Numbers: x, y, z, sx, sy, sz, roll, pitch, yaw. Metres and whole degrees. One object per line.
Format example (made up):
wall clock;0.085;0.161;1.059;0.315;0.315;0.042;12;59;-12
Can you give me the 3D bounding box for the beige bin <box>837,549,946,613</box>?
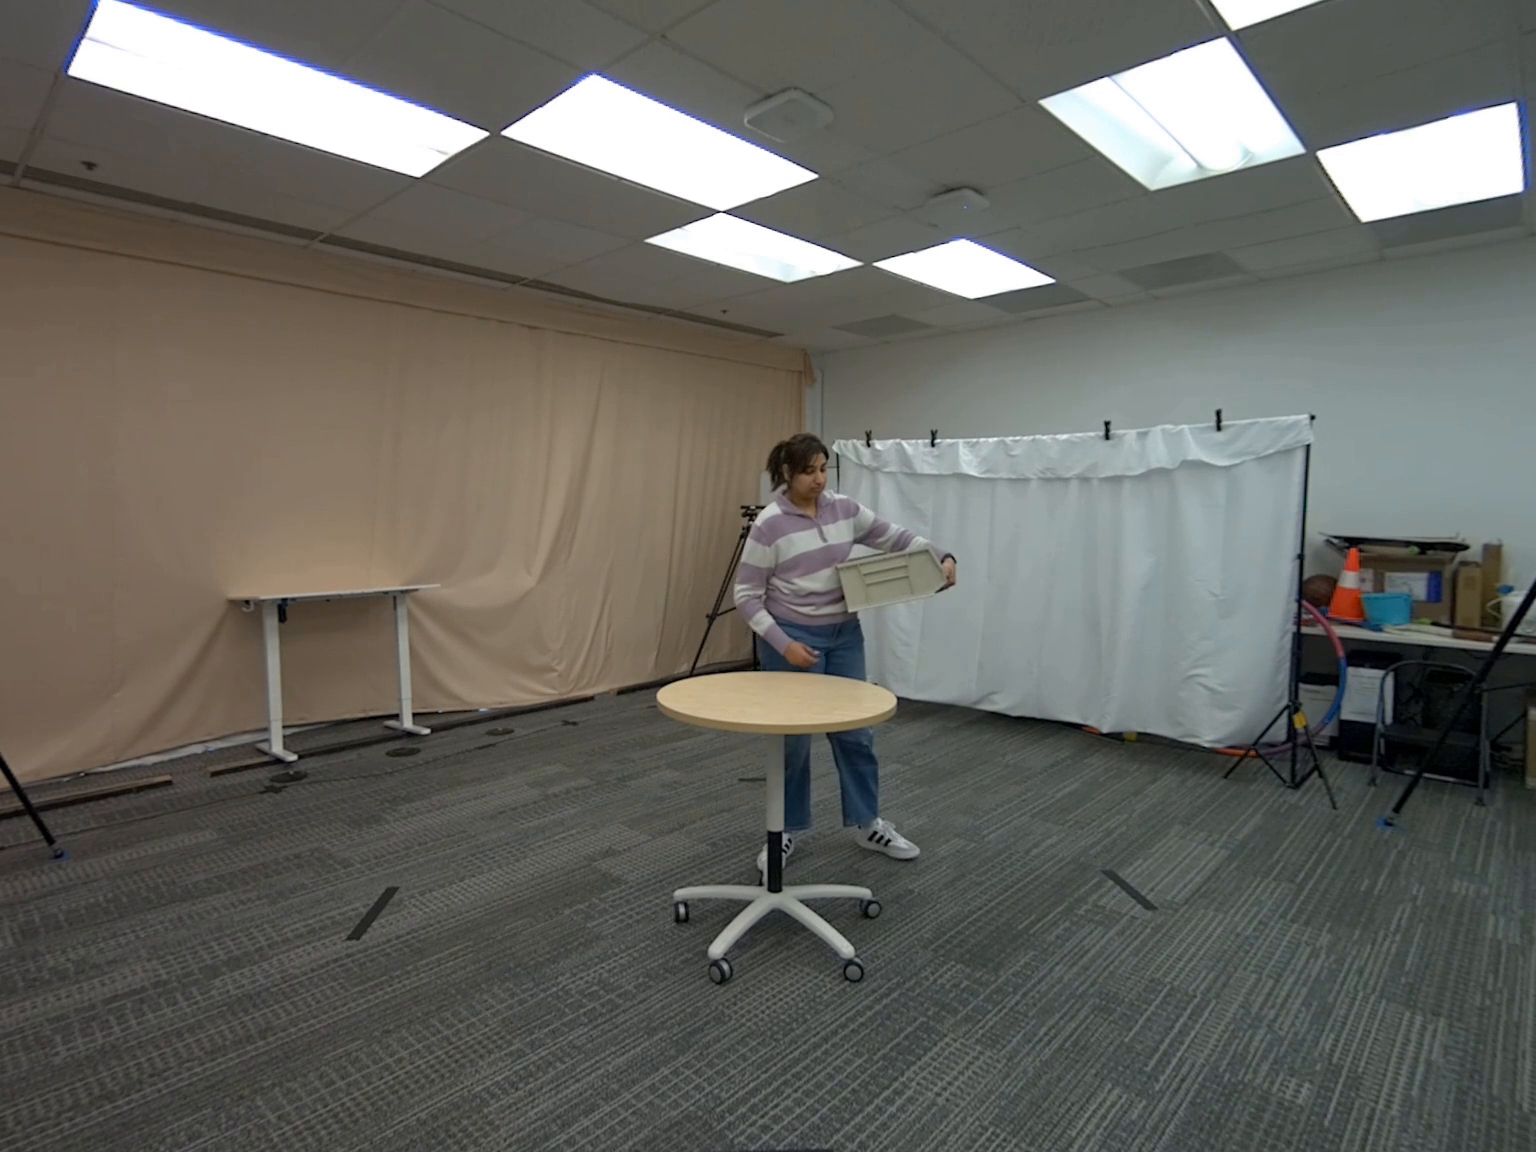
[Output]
beige bin;0.488;0.001;3.226;0.382;0.189;0.417;-12;0;13
